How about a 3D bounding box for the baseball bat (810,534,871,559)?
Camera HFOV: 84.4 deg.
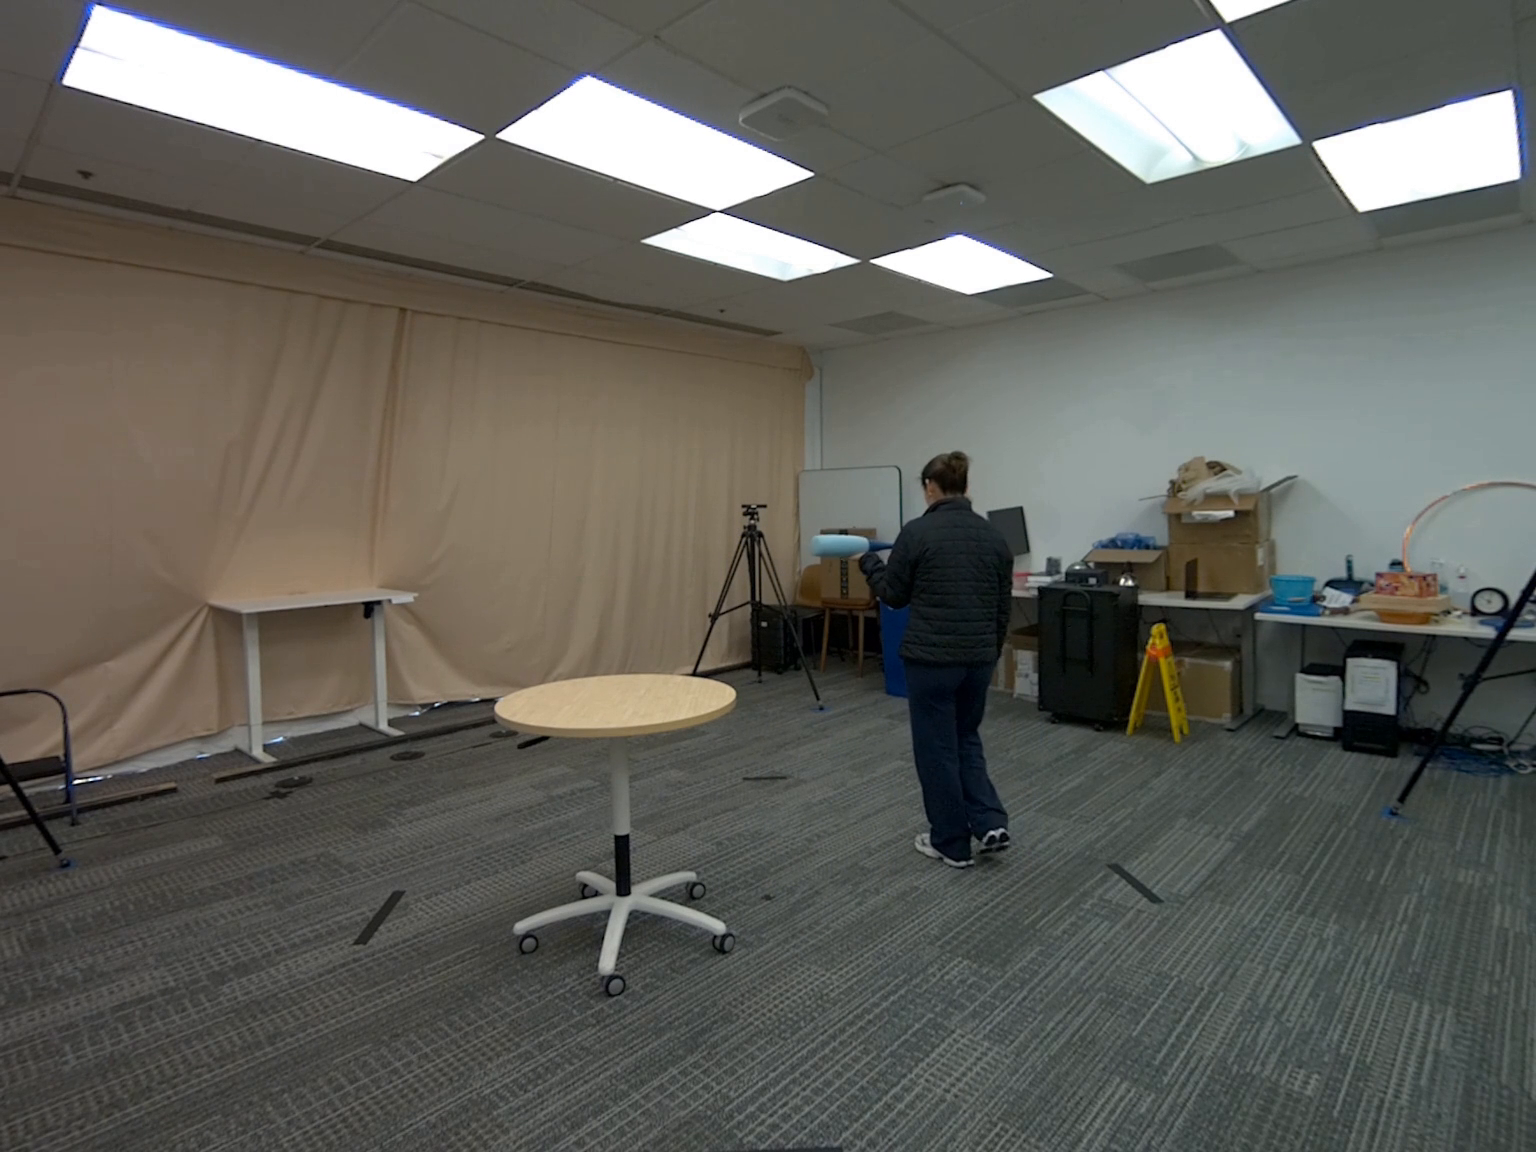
[{"bbox_3d":[0.437,-0.120,3.480,0.529,0.089,0.091,0,3,-27],"label":"baseball bat"}]
